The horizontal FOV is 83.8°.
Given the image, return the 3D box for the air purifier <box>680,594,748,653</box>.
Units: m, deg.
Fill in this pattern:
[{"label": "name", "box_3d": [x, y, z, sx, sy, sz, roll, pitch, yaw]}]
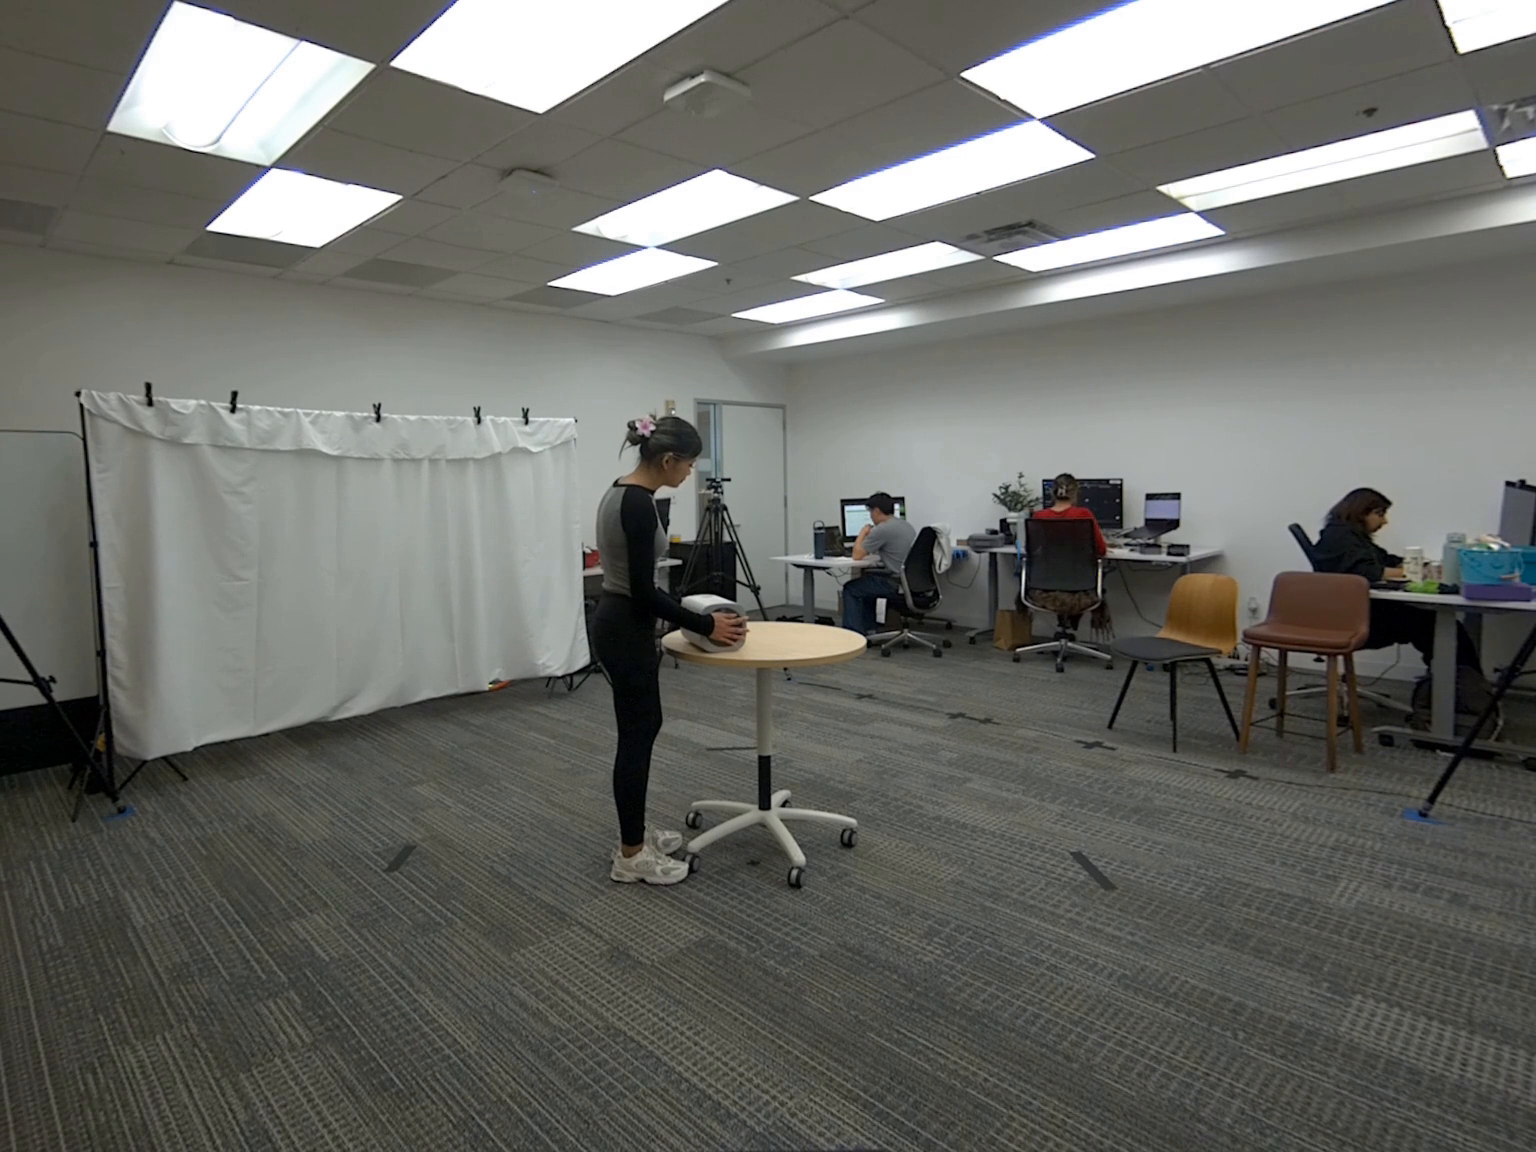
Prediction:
[{"label": "air purifier", "box_3d": [-0.200, 0.164, 3.086, 0.168, 0.171, 0.271, -4, 6, -22]}]
